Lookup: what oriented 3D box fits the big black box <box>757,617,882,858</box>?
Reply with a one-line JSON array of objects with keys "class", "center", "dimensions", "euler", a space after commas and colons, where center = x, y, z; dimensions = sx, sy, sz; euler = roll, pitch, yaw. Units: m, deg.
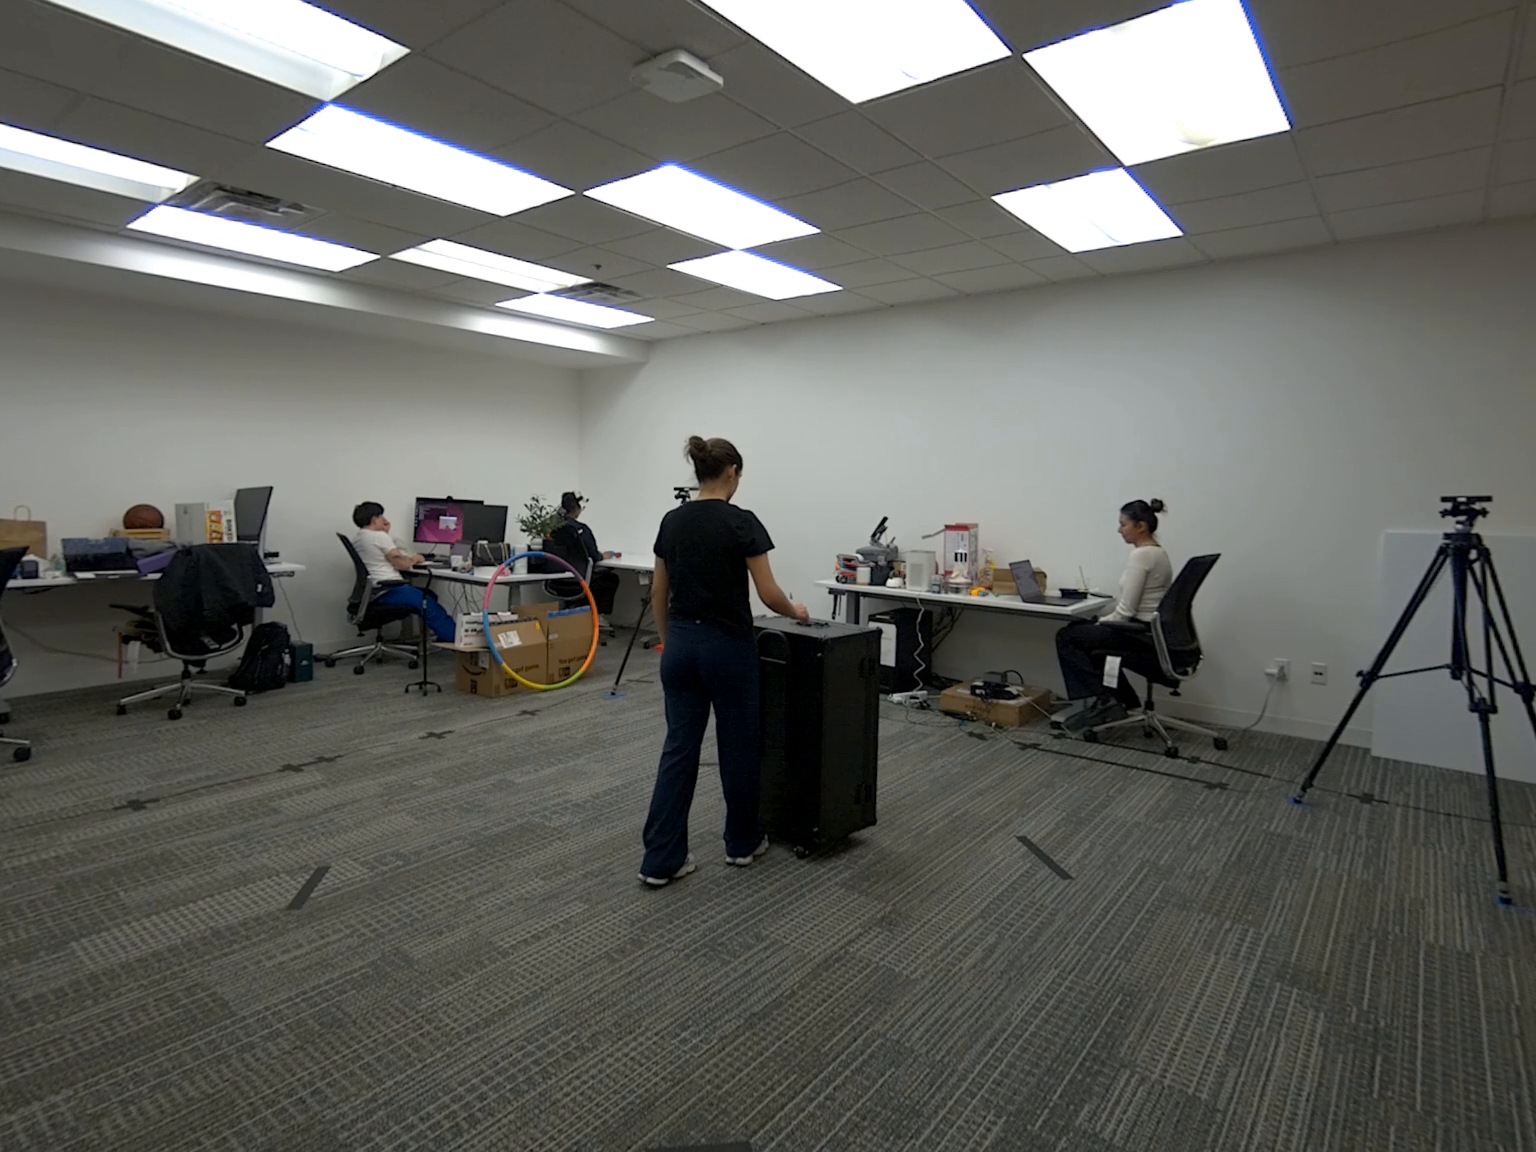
[{"class": "big black box", "center": [0.155, 0.558, 3.413], "dimensions": [0.384, 0.859, 0.539], "euler": [-2, 5, -44]}]
